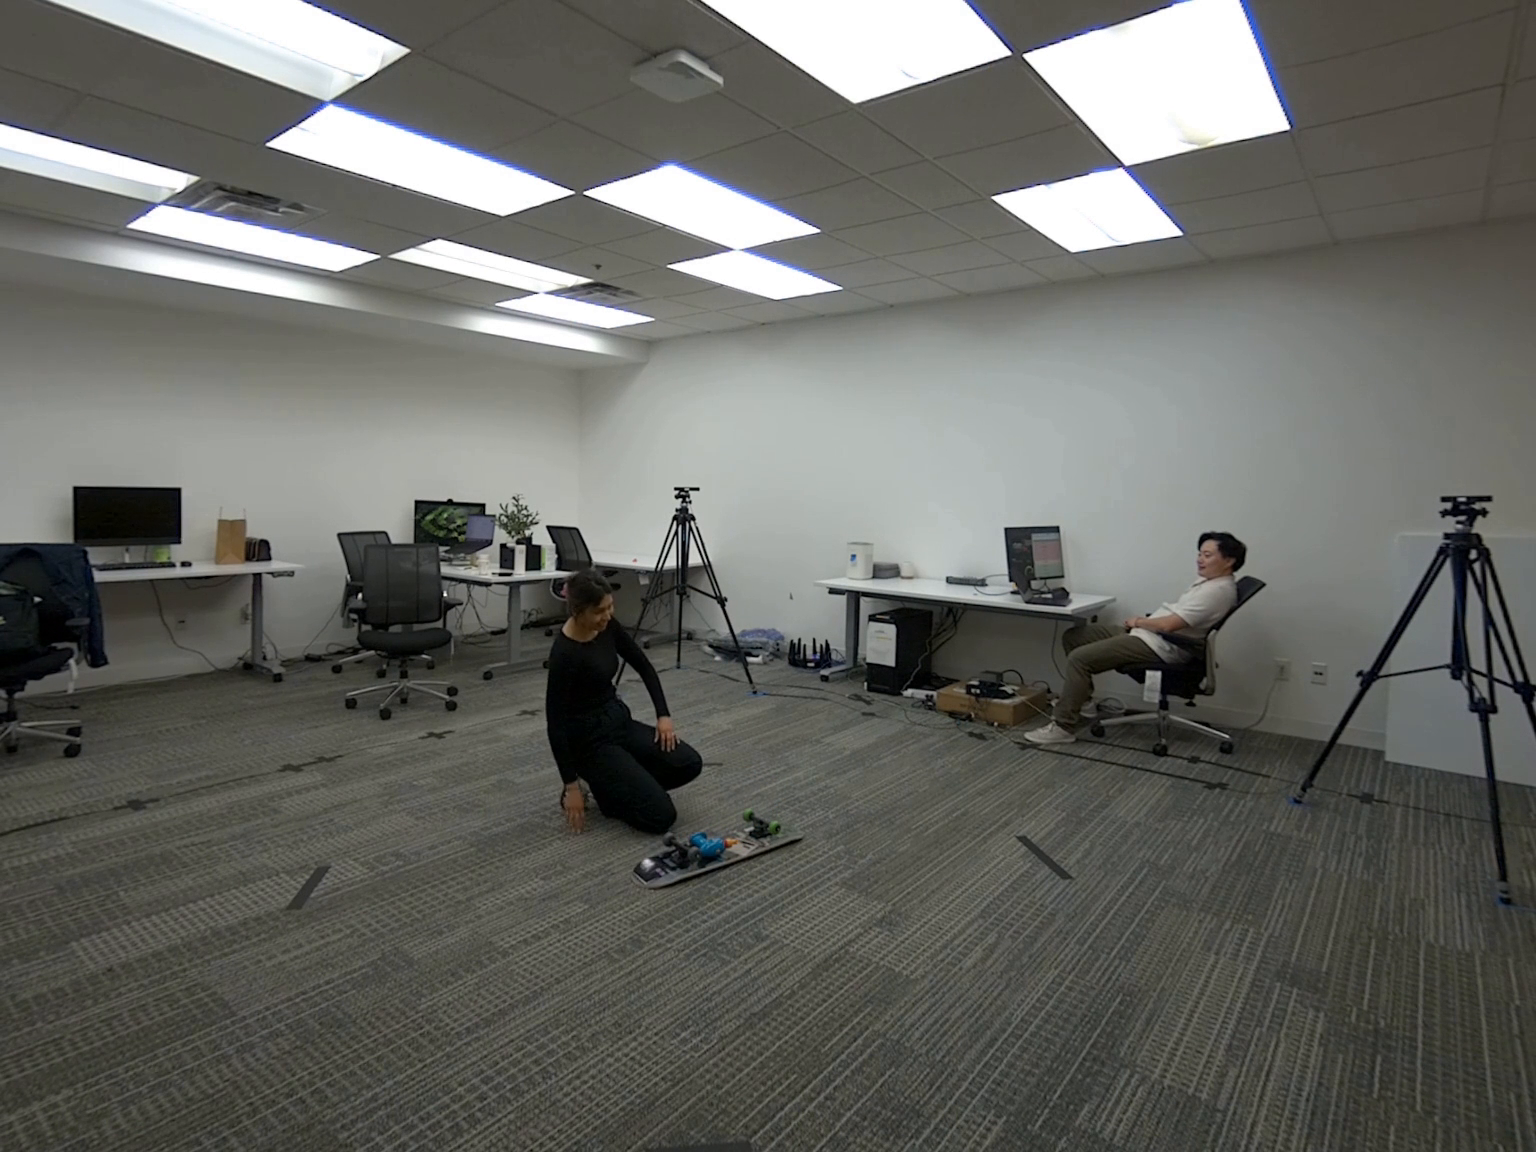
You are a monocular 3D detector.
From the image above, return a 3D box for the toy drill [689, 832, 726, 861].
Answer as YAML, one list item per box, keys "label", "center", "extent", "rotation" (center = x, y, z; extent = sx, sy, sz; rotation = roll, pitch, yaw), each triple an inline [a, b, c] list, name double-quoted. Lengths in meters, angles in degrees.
- label: "toy drill"
  center: [-0.207, 0.995, 3.185]
  extent: [0.166, 0.061, 0.150]
  rotation: [-8, 7, -28]
